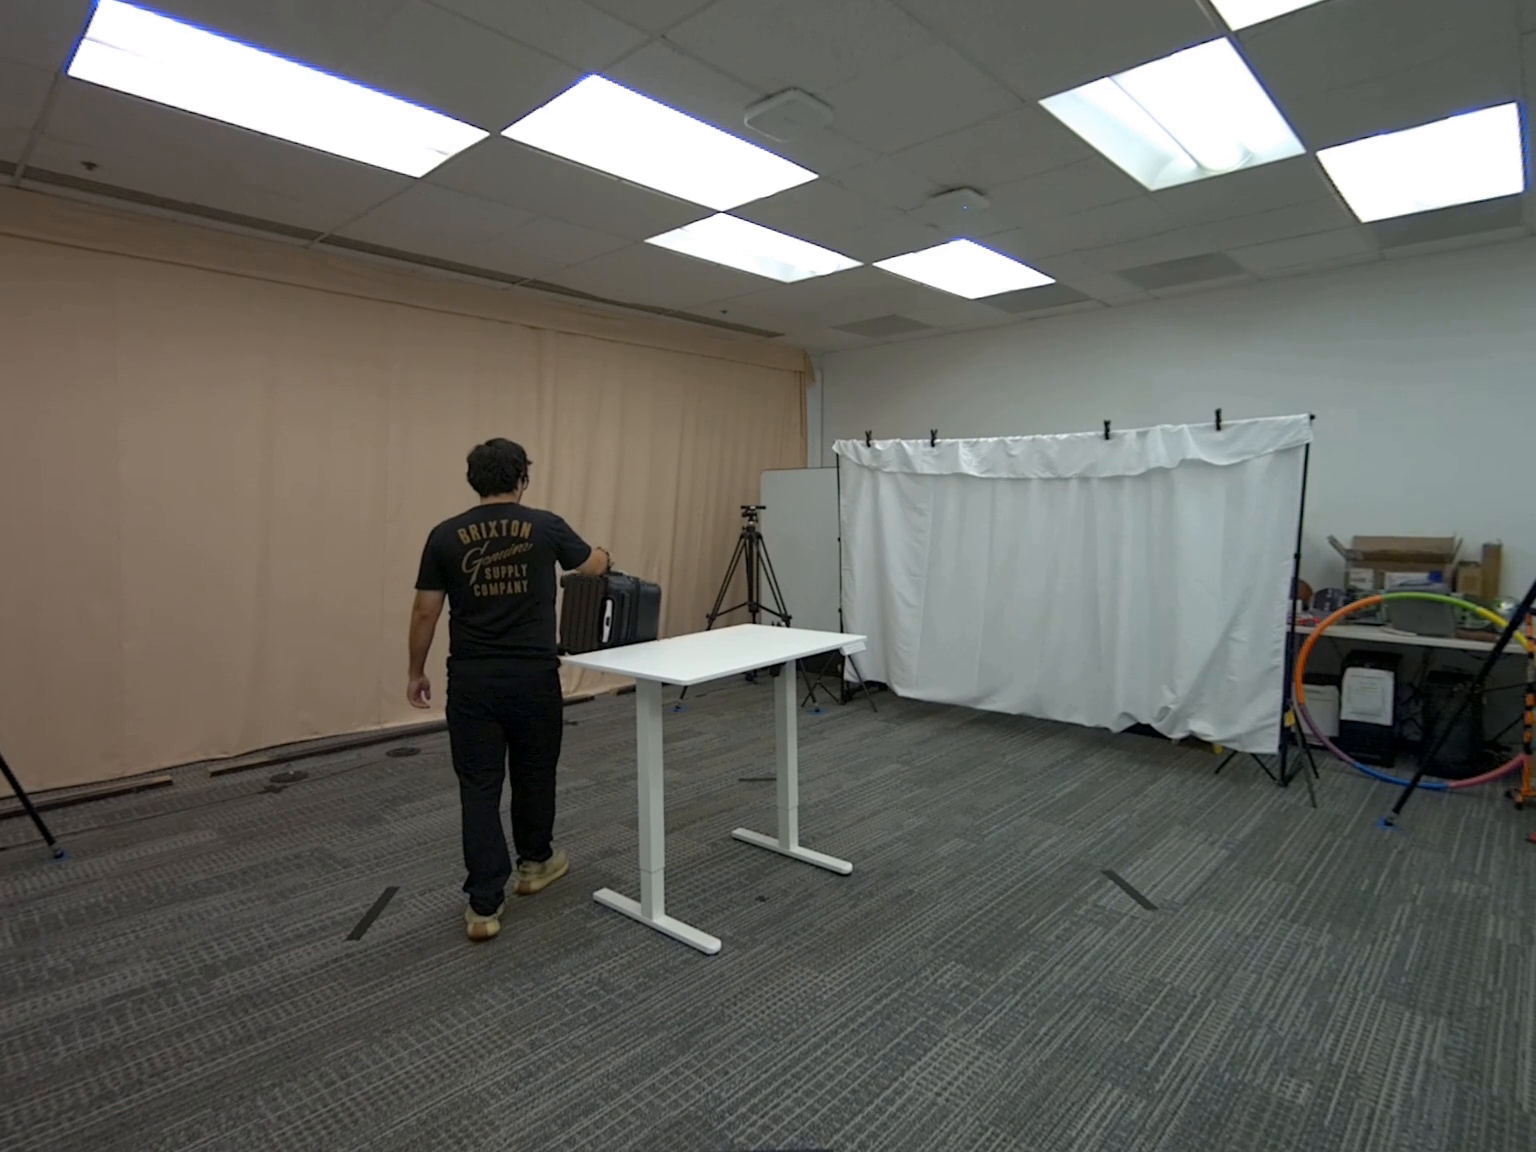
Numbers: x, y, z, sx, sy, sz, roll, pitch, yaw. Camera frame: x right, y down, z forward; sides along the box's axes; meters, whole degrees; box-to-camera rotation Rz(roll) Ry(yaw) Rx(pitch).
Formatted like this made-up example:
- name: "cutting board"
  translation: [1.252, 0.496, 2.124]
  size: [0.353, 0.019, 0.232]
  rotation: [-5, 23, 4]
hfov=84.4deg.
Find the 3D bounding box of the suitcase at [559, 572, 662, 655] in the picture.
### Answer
- name: "suitcase"
  translation: [-0.649, 0.170, 3.426]
  size: [0.241, 0.376, 0.565]
  rotation: [8, -4, -33]
